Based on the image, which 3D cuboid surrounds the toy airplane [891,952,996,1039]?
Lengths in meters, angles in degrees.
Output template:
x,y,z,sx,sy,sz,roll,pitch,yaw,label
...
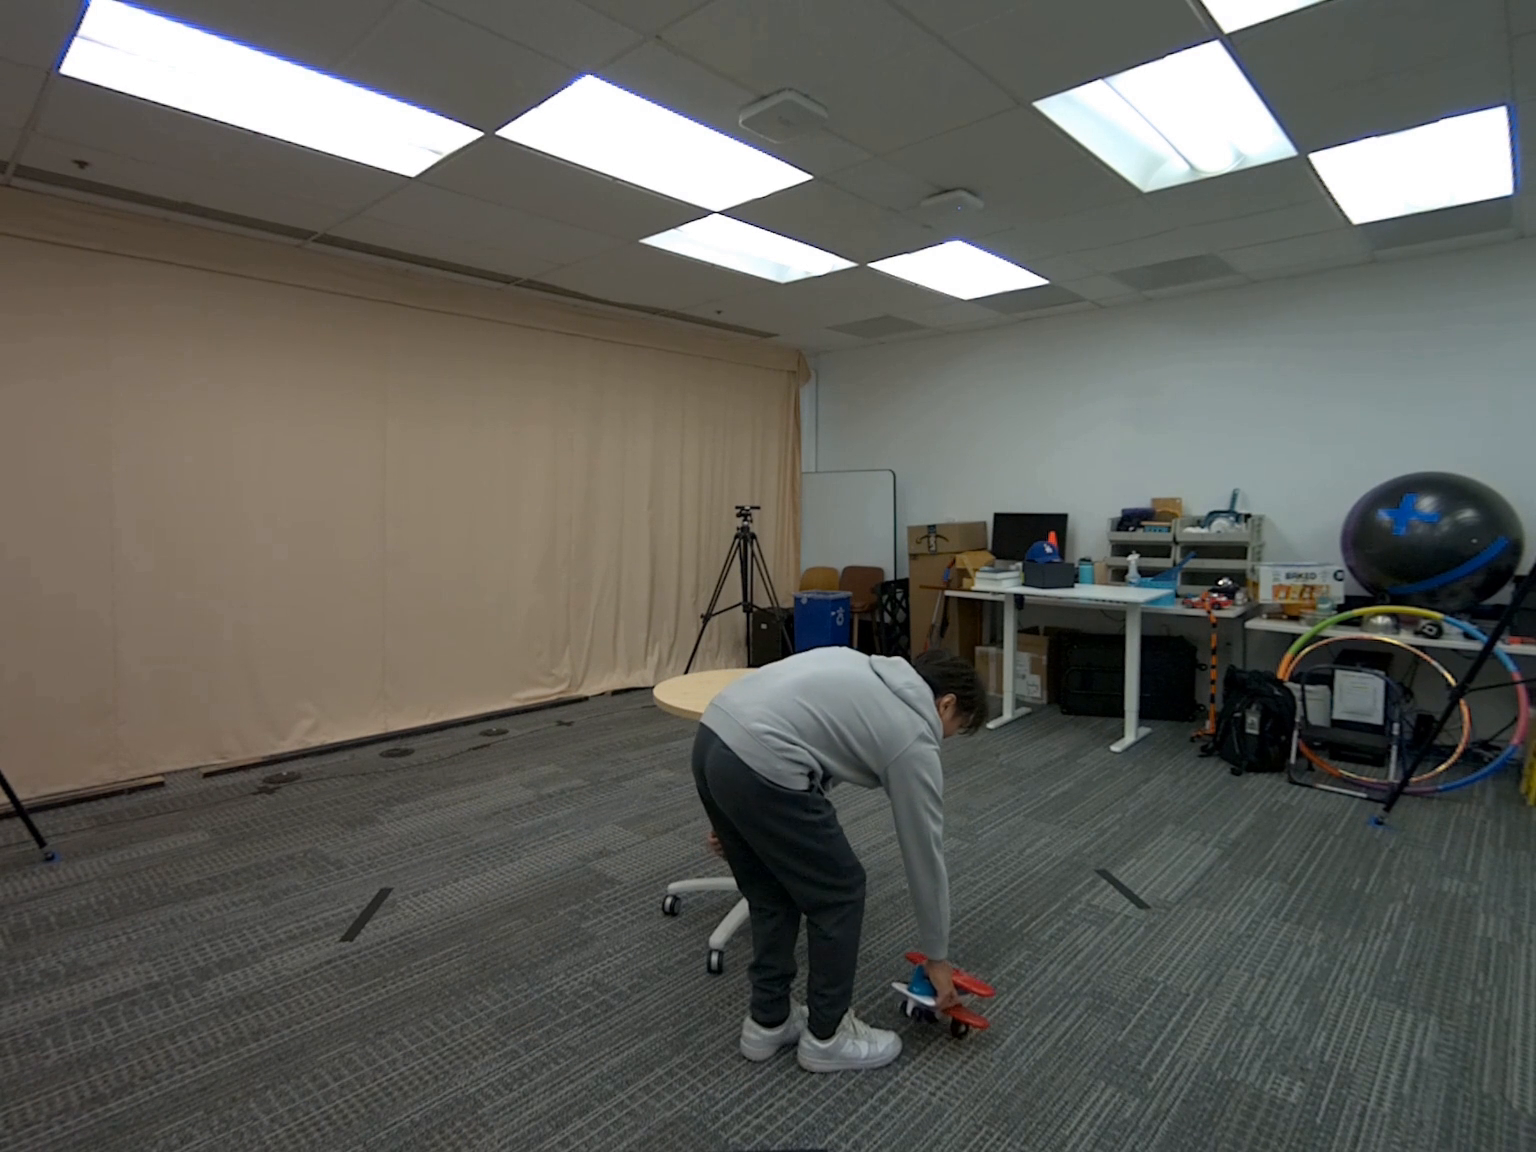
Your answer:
x,y,z,sx,sy,sz,roll,pitch,yaw,label
0.465,1.103,2.195,0.257,0.157,0.252,18,-19,20,toy airplane
